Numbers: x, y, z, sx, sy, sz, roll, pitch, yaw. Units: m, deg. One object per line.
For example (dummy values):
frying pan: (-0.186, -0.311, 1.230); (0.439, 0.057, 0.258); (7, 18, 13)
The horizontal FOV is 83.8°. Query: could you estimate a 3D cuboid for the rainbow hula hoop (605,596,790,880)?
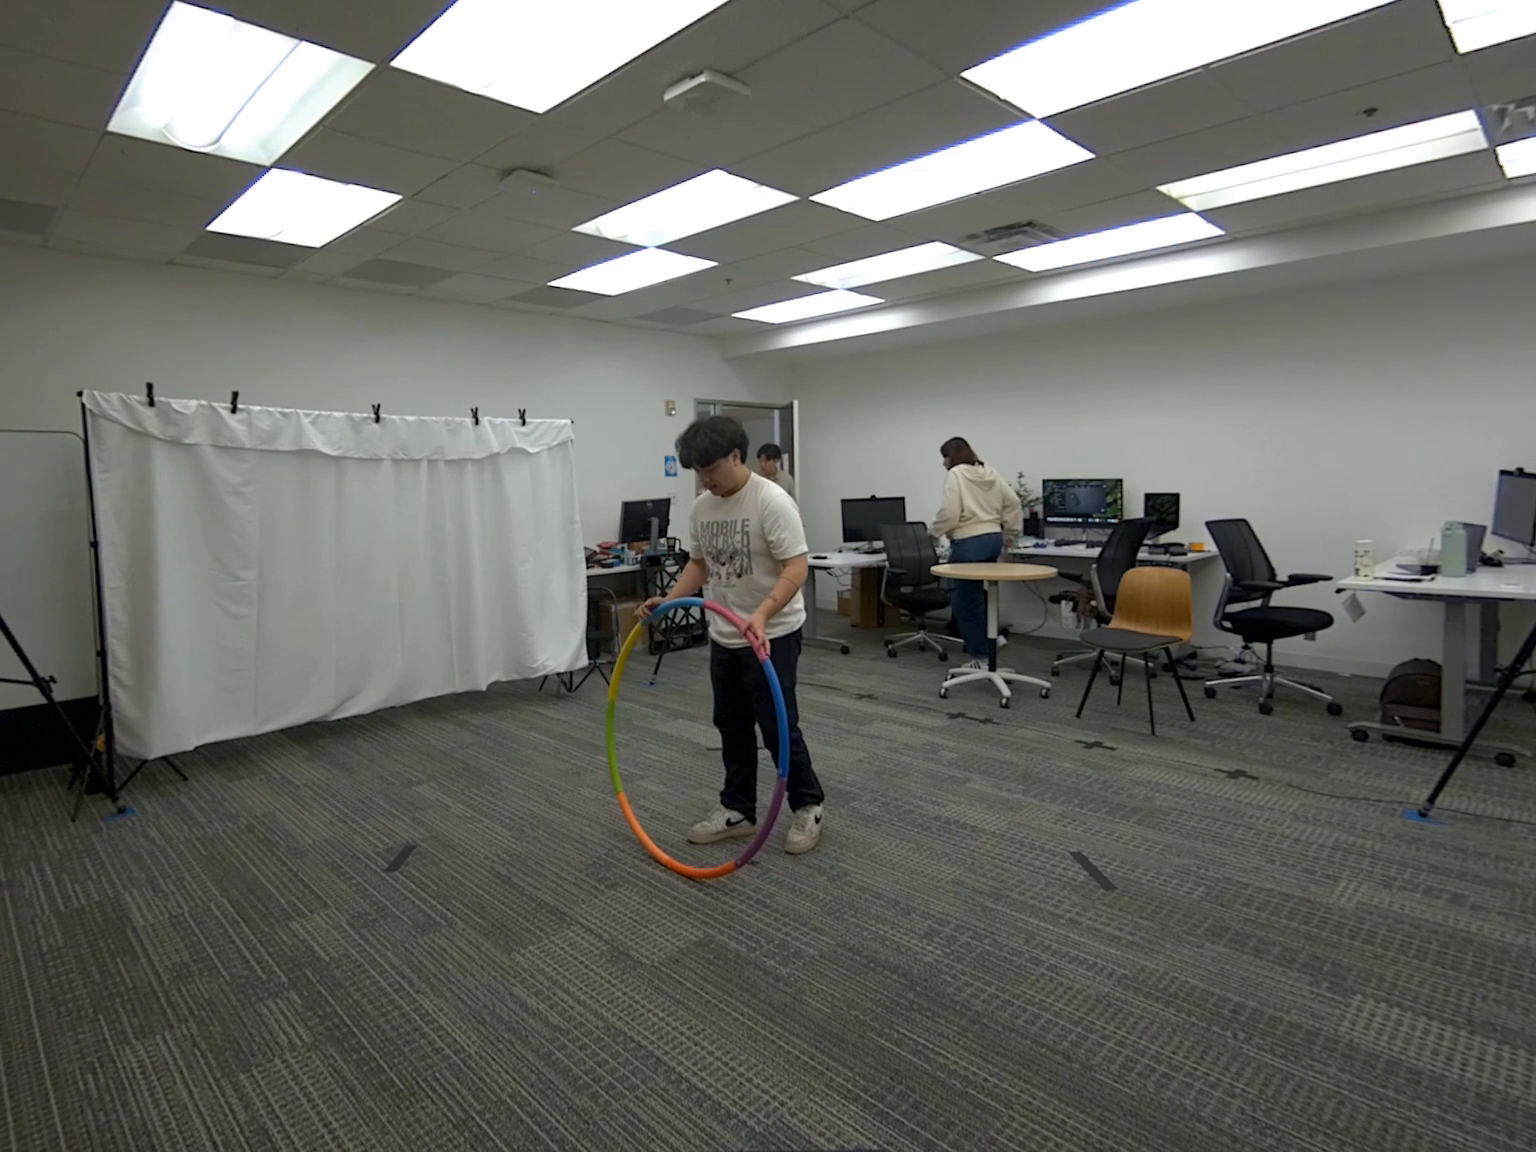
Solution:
rainbow hula hoop: (-0.293, 0.572, 3.068); (0.050, 0.987, 1.016); (7, -2, -43)
